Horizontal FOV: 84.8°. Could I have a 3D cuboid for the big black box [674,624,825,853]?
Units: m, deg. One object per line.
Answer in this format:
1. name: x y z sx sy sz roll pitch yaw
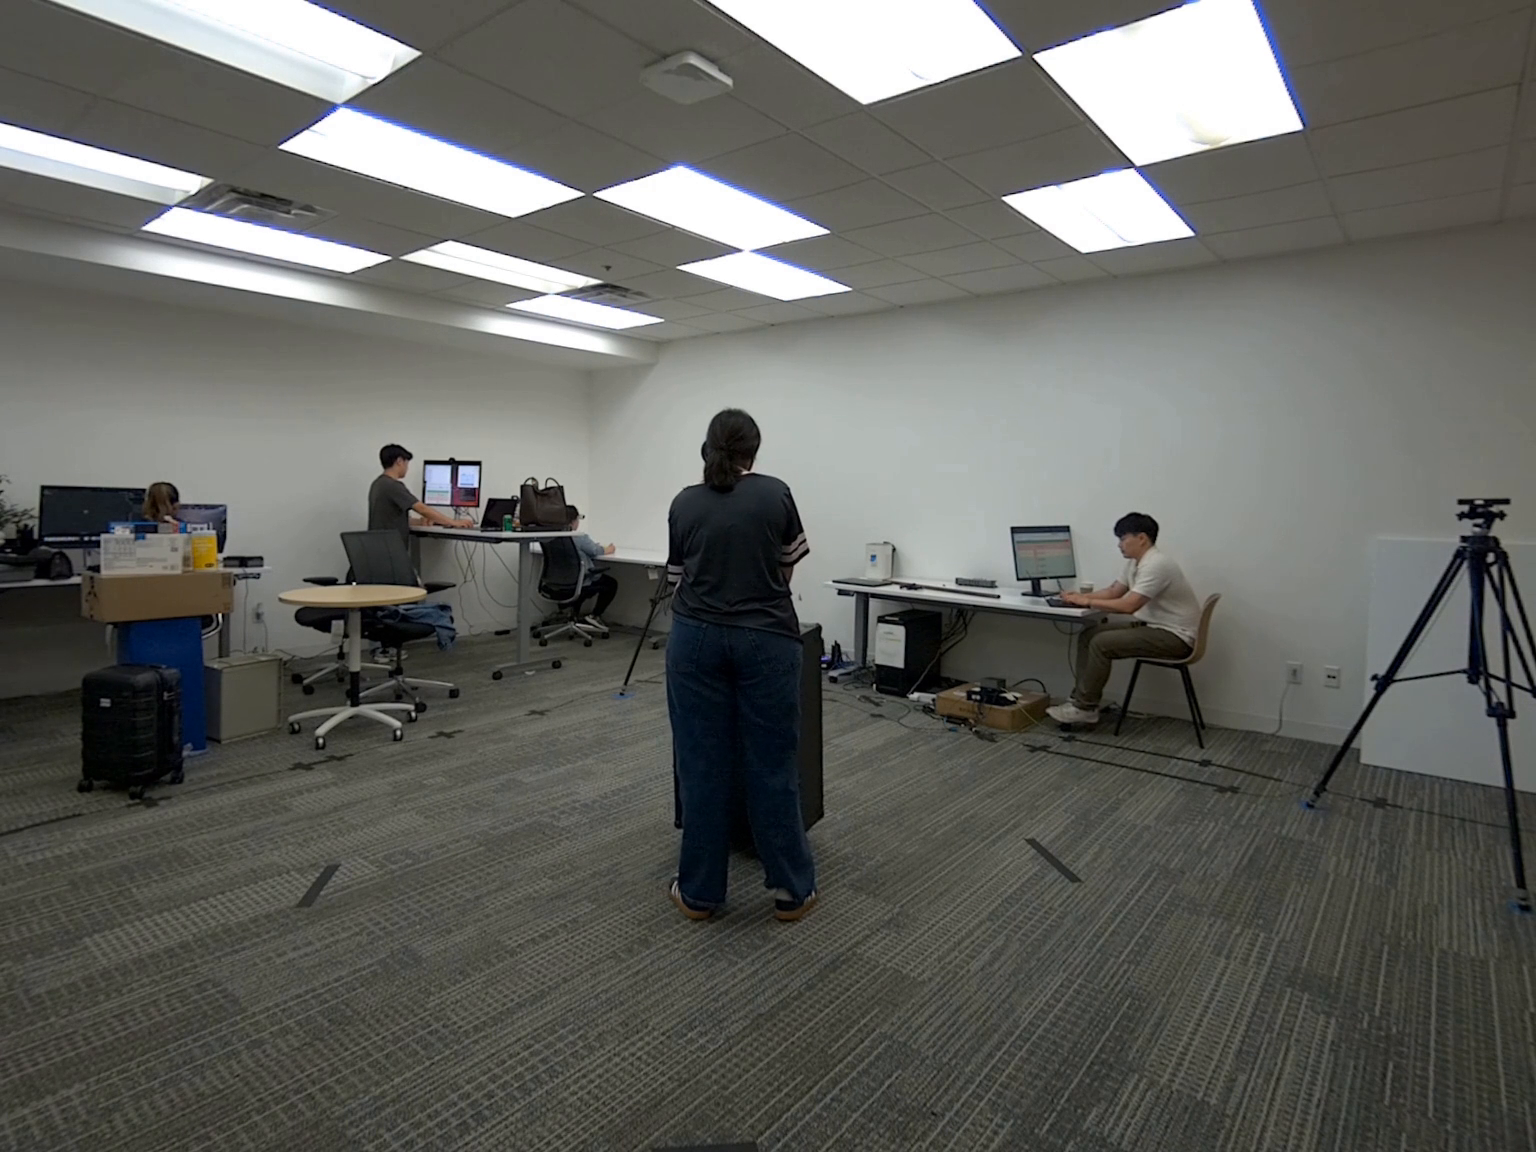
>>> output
1. big black box: -0.094 0.617 3.319 0.538 0.862 0.377 3 8 28
